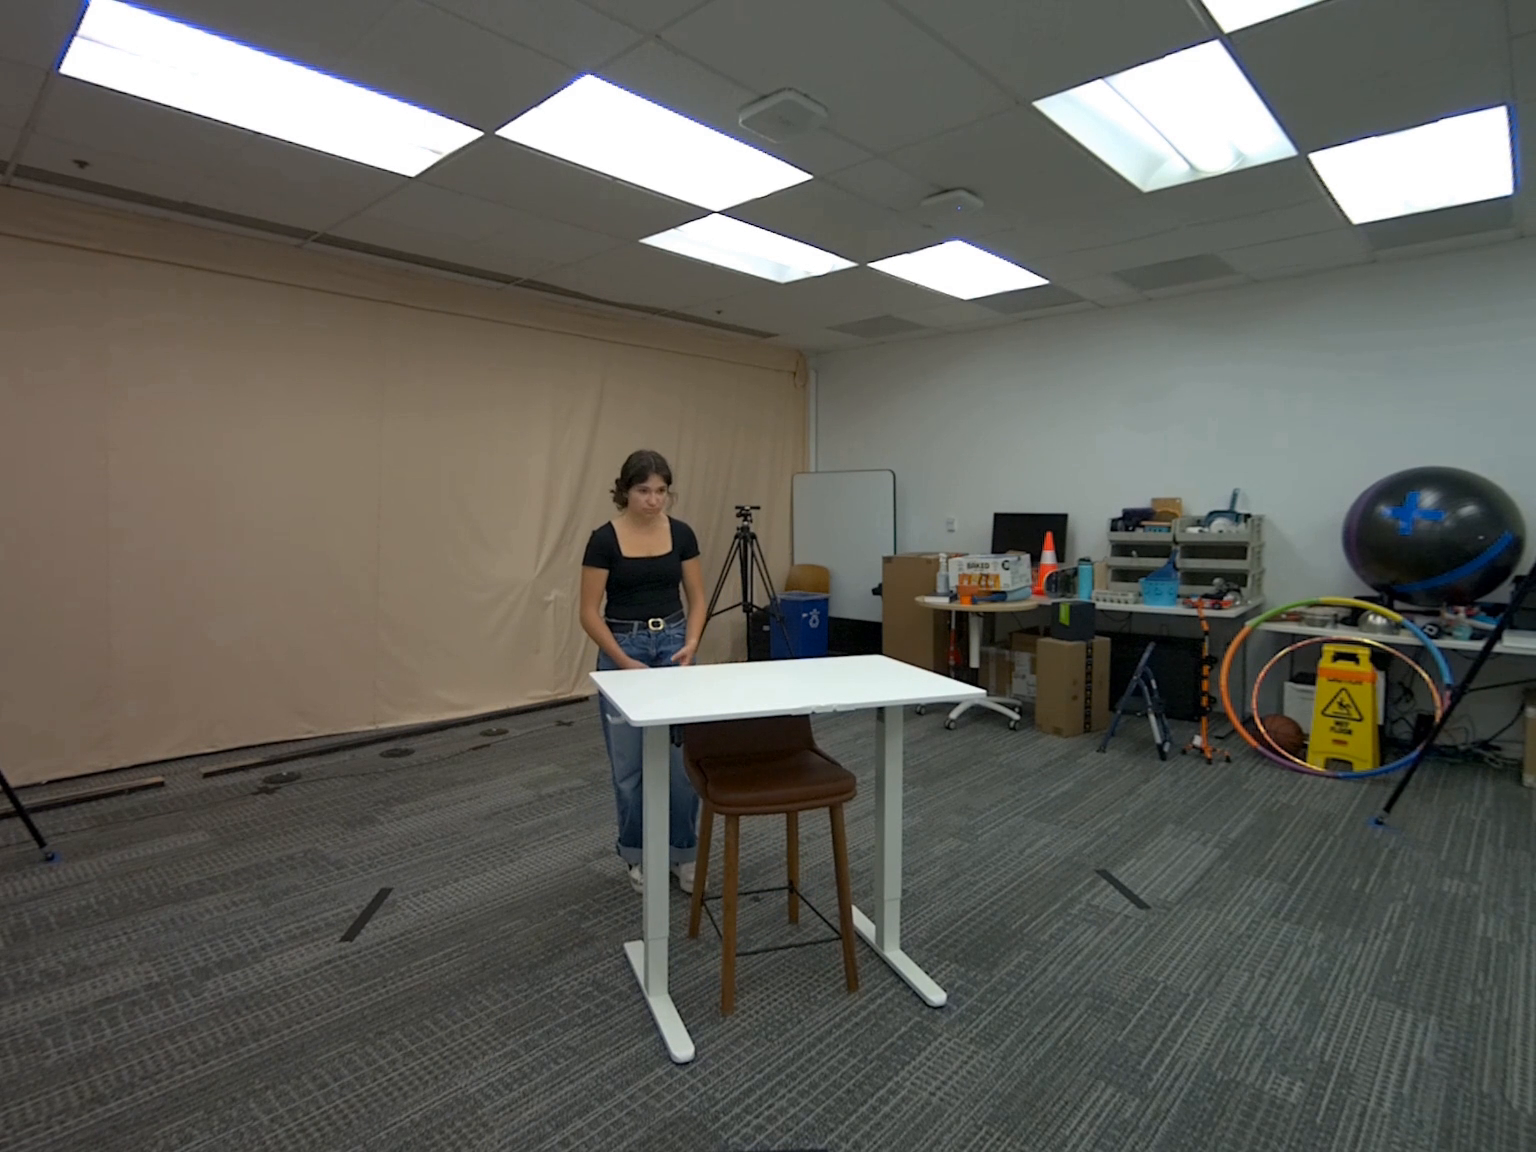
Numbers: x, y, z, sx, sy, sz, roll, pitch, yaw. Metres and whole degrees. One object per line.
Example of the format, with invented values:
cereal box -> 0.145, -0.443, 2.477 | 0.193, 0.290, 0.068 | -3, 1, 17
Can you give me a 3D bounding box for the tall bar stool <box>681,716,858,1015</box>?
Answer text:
tall bar stool -> -0.003, 0.753, 2.549 | 0.448, 0.889, 0.477 | -2, 2, -18
